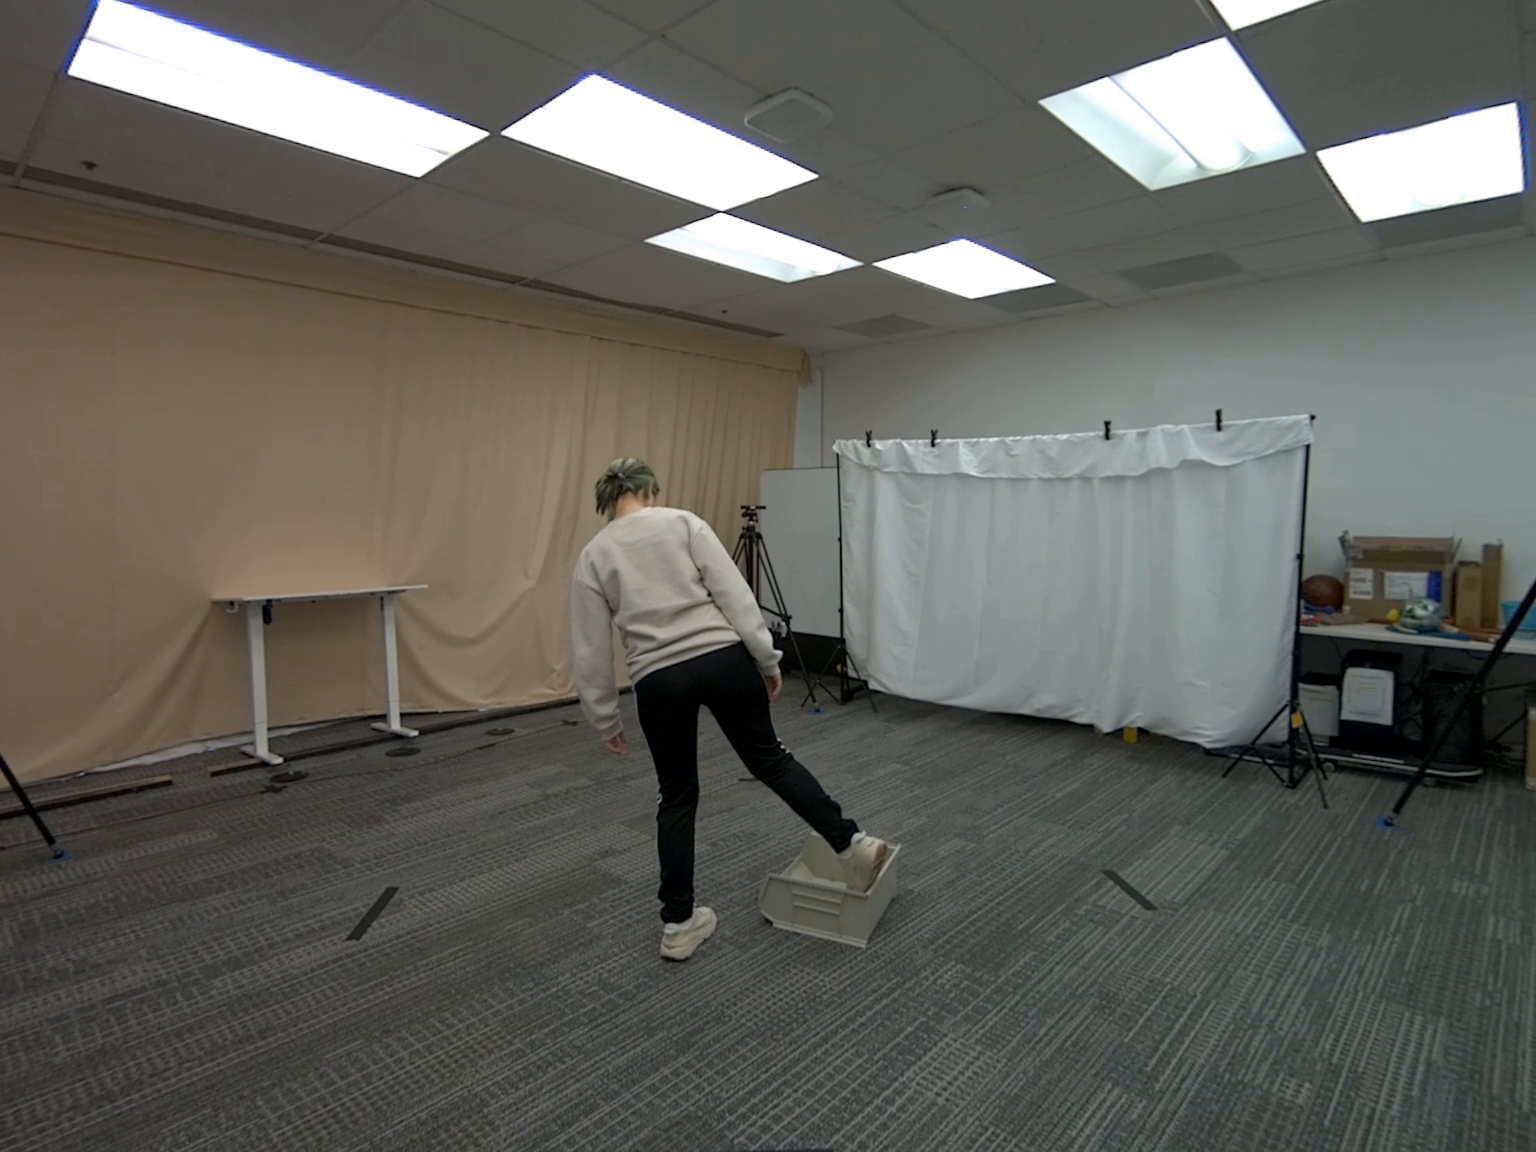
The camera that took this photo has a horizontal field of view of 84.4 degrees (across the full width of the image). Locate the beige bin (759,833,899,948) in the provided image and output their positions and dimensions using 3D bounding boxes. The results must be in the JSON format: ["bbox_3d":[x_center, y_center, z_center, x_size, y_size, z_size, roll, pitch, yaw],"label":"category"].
[{"bbox_3d":[0.225,1.057,2.903,0.387,0.188,0.413,3,5,24],"label":"beige bin"}]
